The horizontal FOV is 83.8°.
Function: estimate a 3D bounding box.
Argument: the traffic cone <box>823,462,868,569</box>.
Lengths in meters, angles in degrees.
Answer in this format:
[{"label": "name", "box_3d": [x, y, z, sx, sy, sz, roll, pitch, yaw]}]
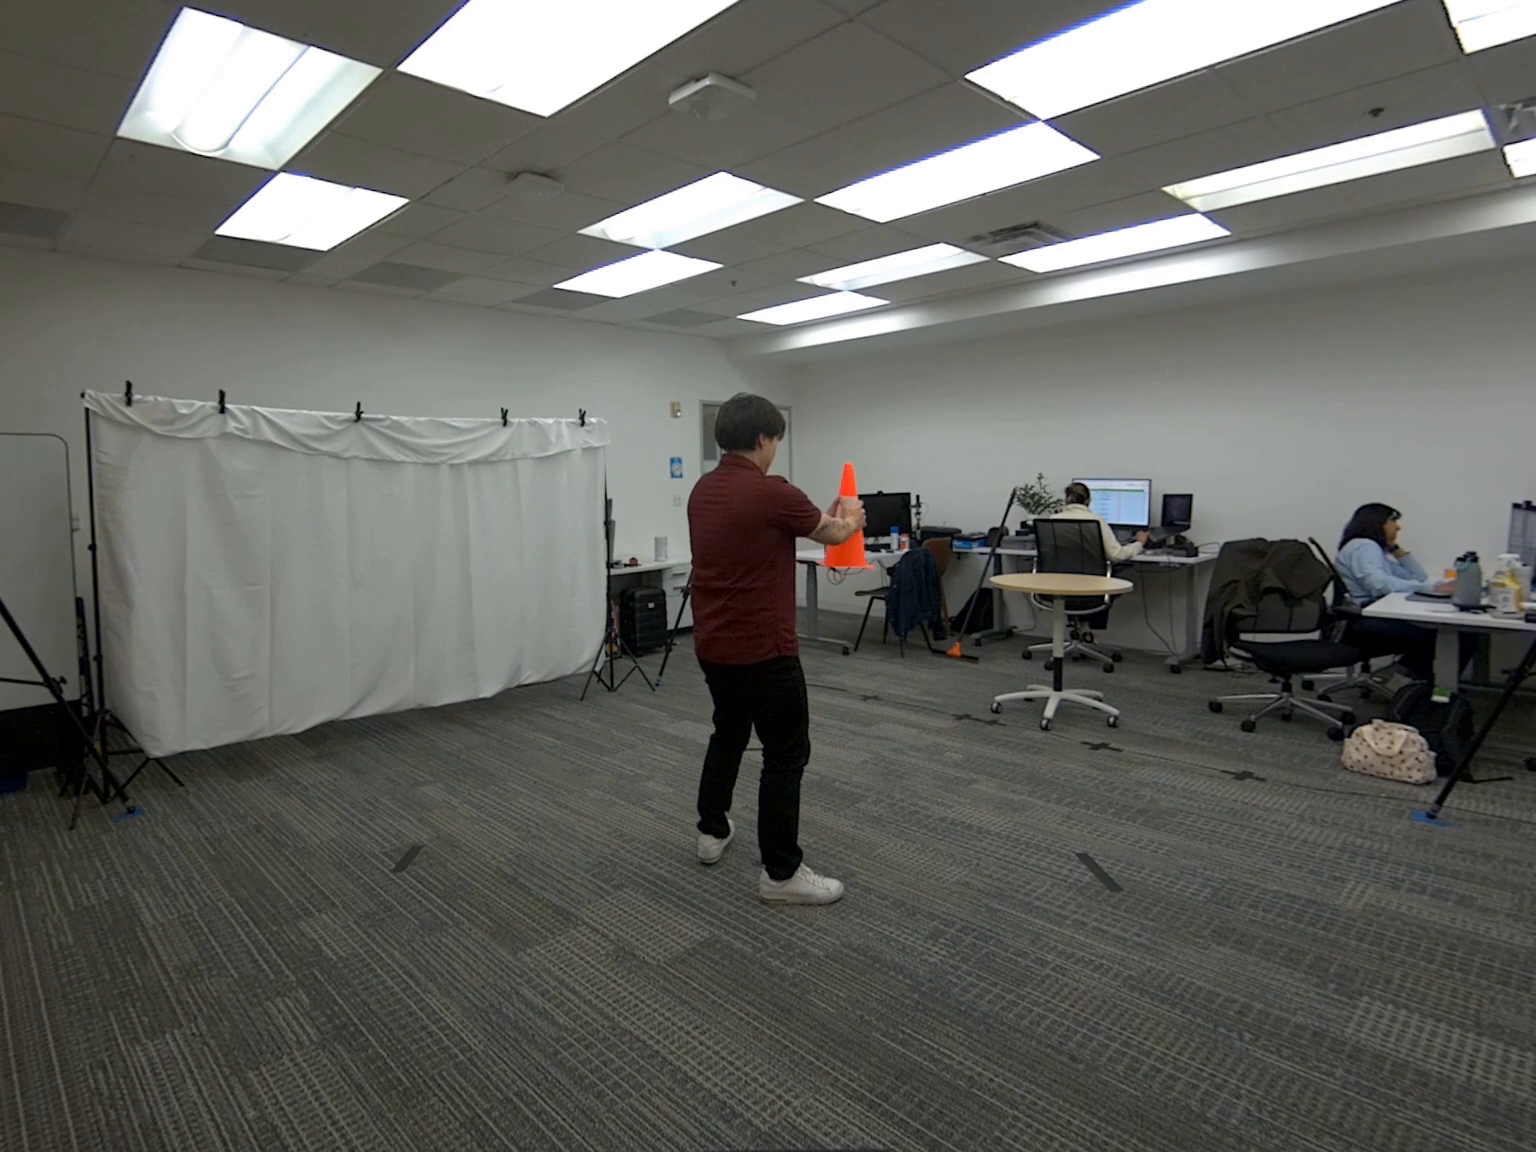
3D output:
[{"label": "traffic cone", "box_3d": [0.306, -0.233, 3.201, 0.200, 0.381, 0.210, -4, 8, -35]}]
